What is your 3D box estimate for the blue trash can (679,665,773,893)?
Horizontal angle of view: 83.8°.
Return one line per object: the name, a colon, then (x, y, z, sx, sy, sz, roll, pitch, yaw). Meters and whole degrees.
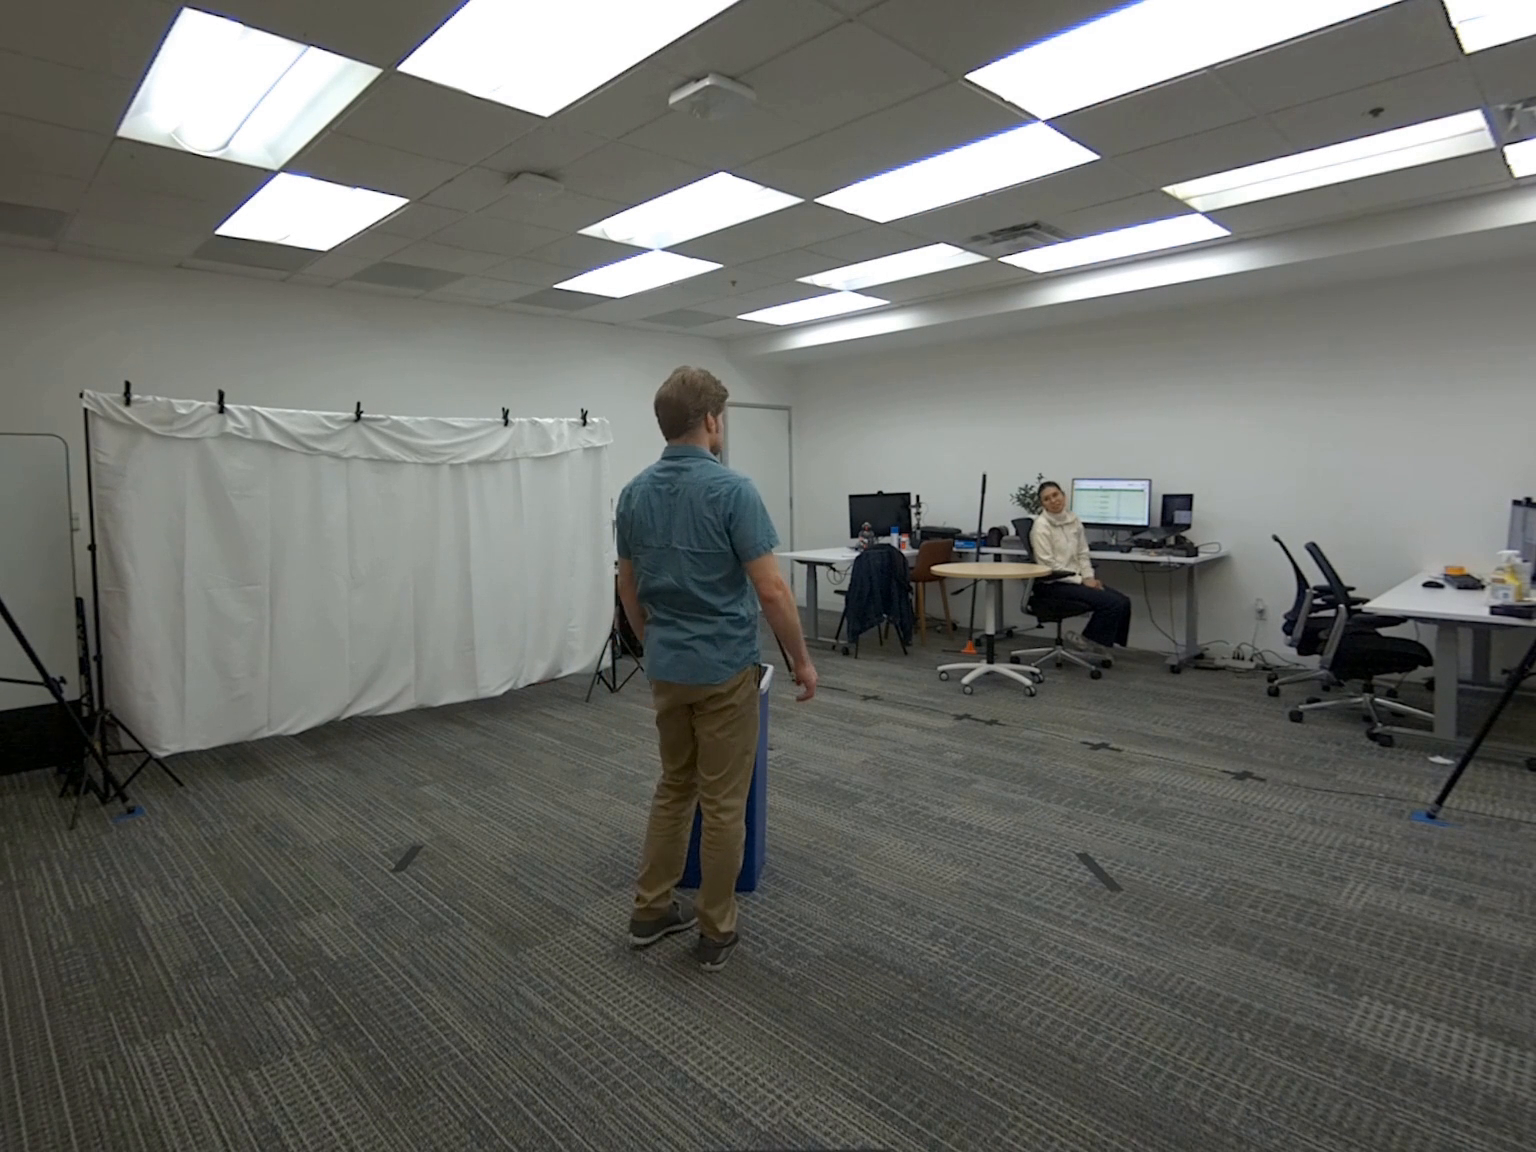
blue trash can: (-0.166, 0.700, 3.033, 0.381, 0.712, 0.372, 0, 3, 8)
